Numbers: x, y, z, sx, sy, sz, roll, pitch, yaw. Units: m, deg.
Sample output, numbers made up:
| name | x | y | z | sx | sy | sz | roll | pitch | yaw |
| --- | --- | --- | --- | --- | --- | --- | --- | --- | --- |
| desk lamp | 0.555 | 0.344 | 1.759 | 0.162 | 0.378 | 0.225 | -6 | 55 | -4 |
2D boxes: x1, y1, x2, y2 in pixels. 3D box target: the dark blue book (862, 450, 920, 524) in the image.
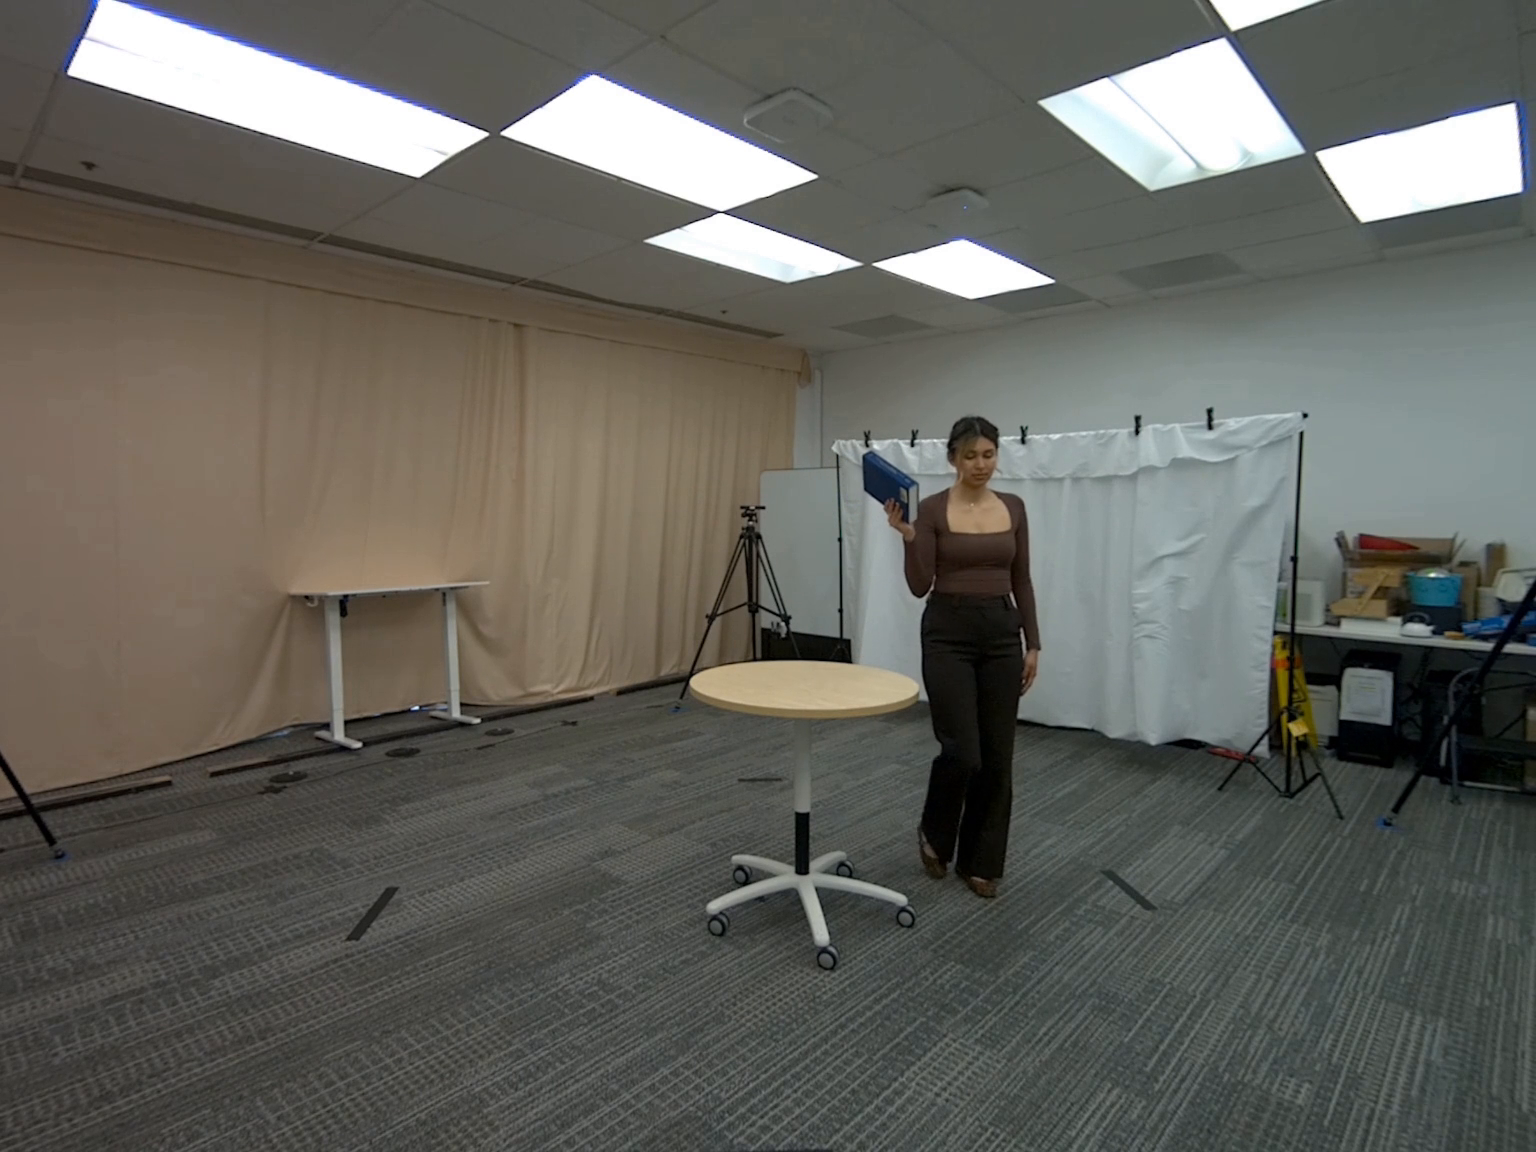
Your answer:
| name | x | y | z | sx | sy | sz | roll | pitch | yaw |
| --- | --- | --- | --- | --- | --- | --- | --- | --- | --- |
| dark blue book | 0.422 | -0.303 | 2.875 | 0.044 | 0.159 | 0.254 | -26 | 45 | -19 |
